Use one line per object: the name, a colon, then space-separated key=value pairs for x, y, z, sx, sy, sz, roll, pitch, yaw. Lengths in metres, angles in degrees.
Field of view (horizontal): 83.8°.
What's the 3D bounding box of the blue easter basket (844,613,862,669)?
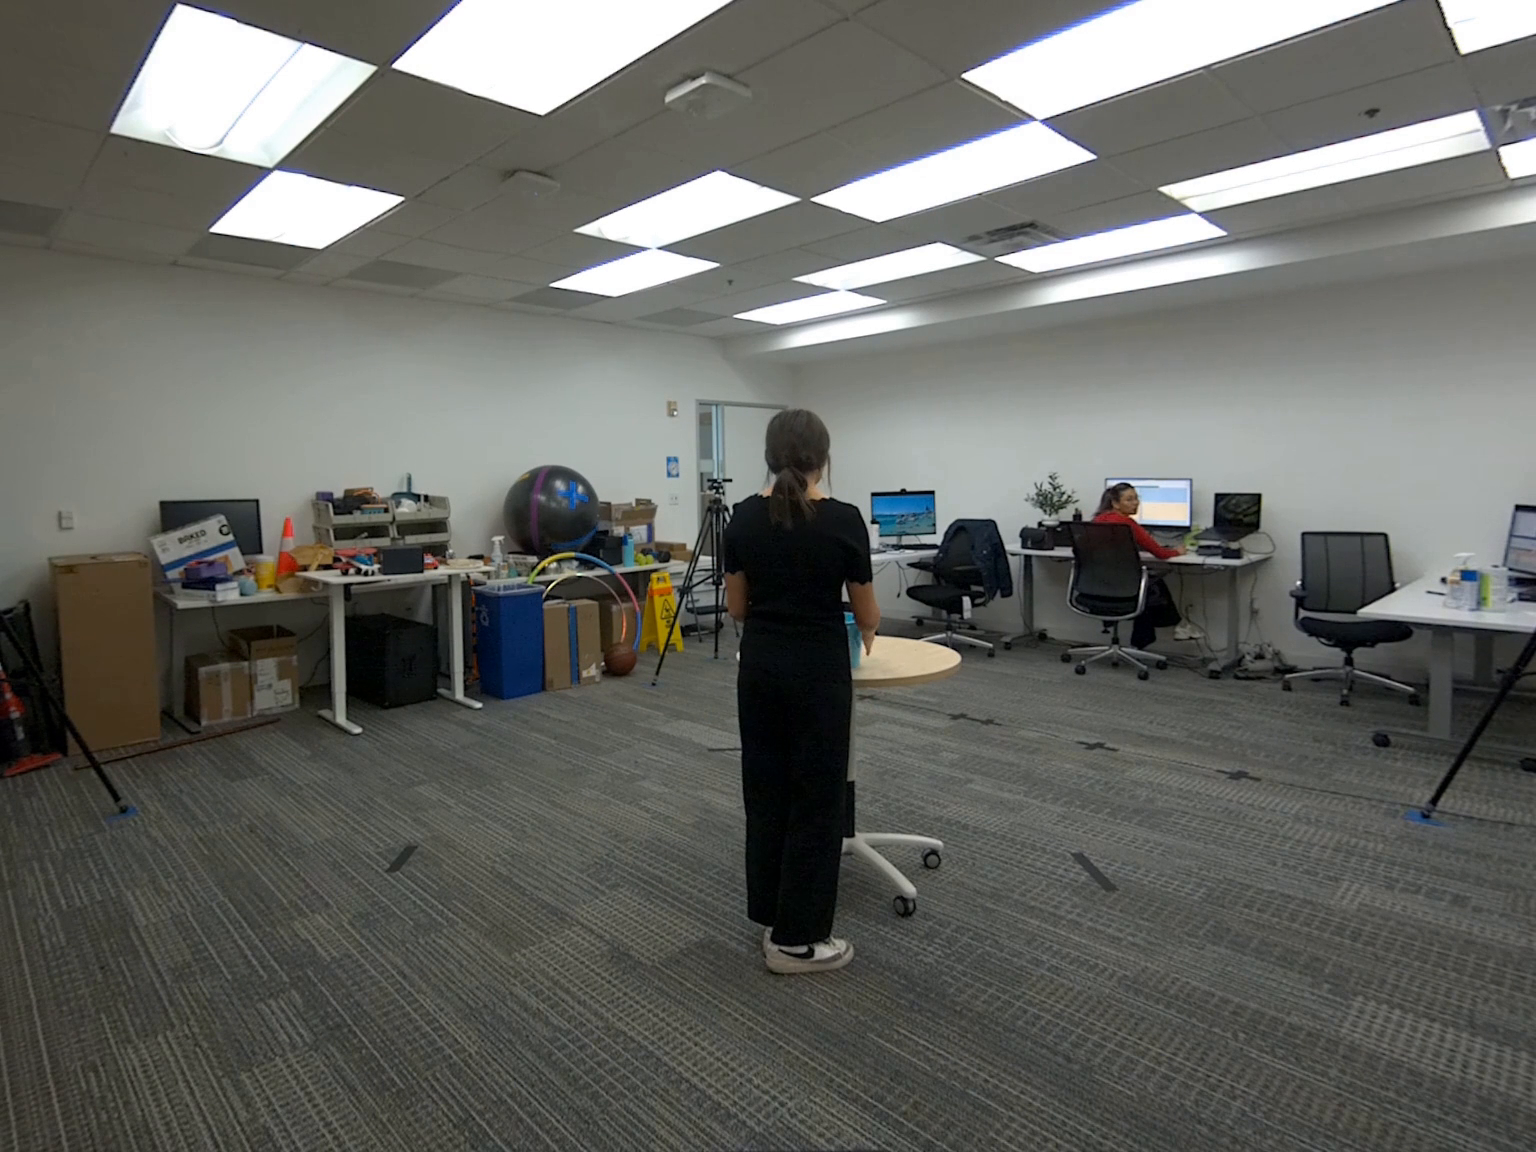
blue easter basket: x=0.231 y=0.218 z=2.810 sx=0.243 sy=0.155 sz=0.245 roll=-2 pitch=5 yaw=-1
